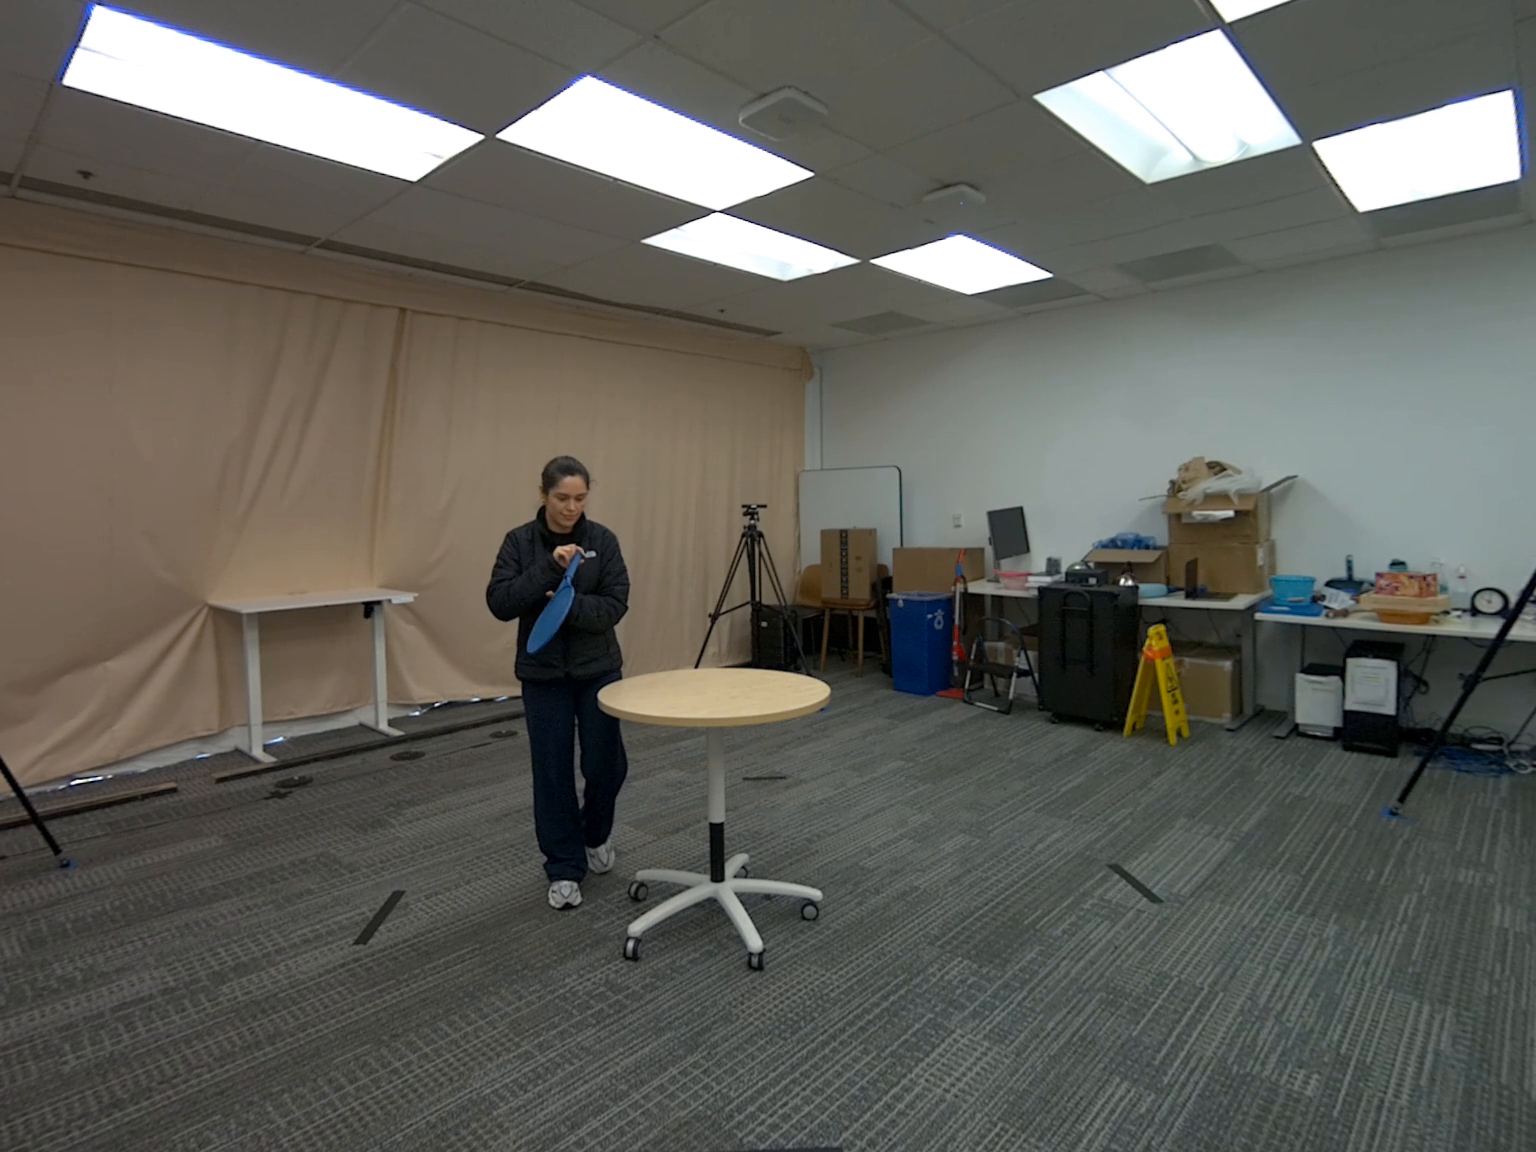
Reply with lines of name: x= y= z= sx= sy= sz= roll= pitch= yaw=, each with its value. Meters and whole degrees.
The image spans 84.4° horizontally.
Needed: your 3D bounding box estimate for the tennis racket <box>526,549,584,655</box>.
tennis racket: x=-0.674 y=0.072 z=2.727 sx=0.031 sy=0.438 sz=0.217 roll=38 pitch=-50 yaw=-26
